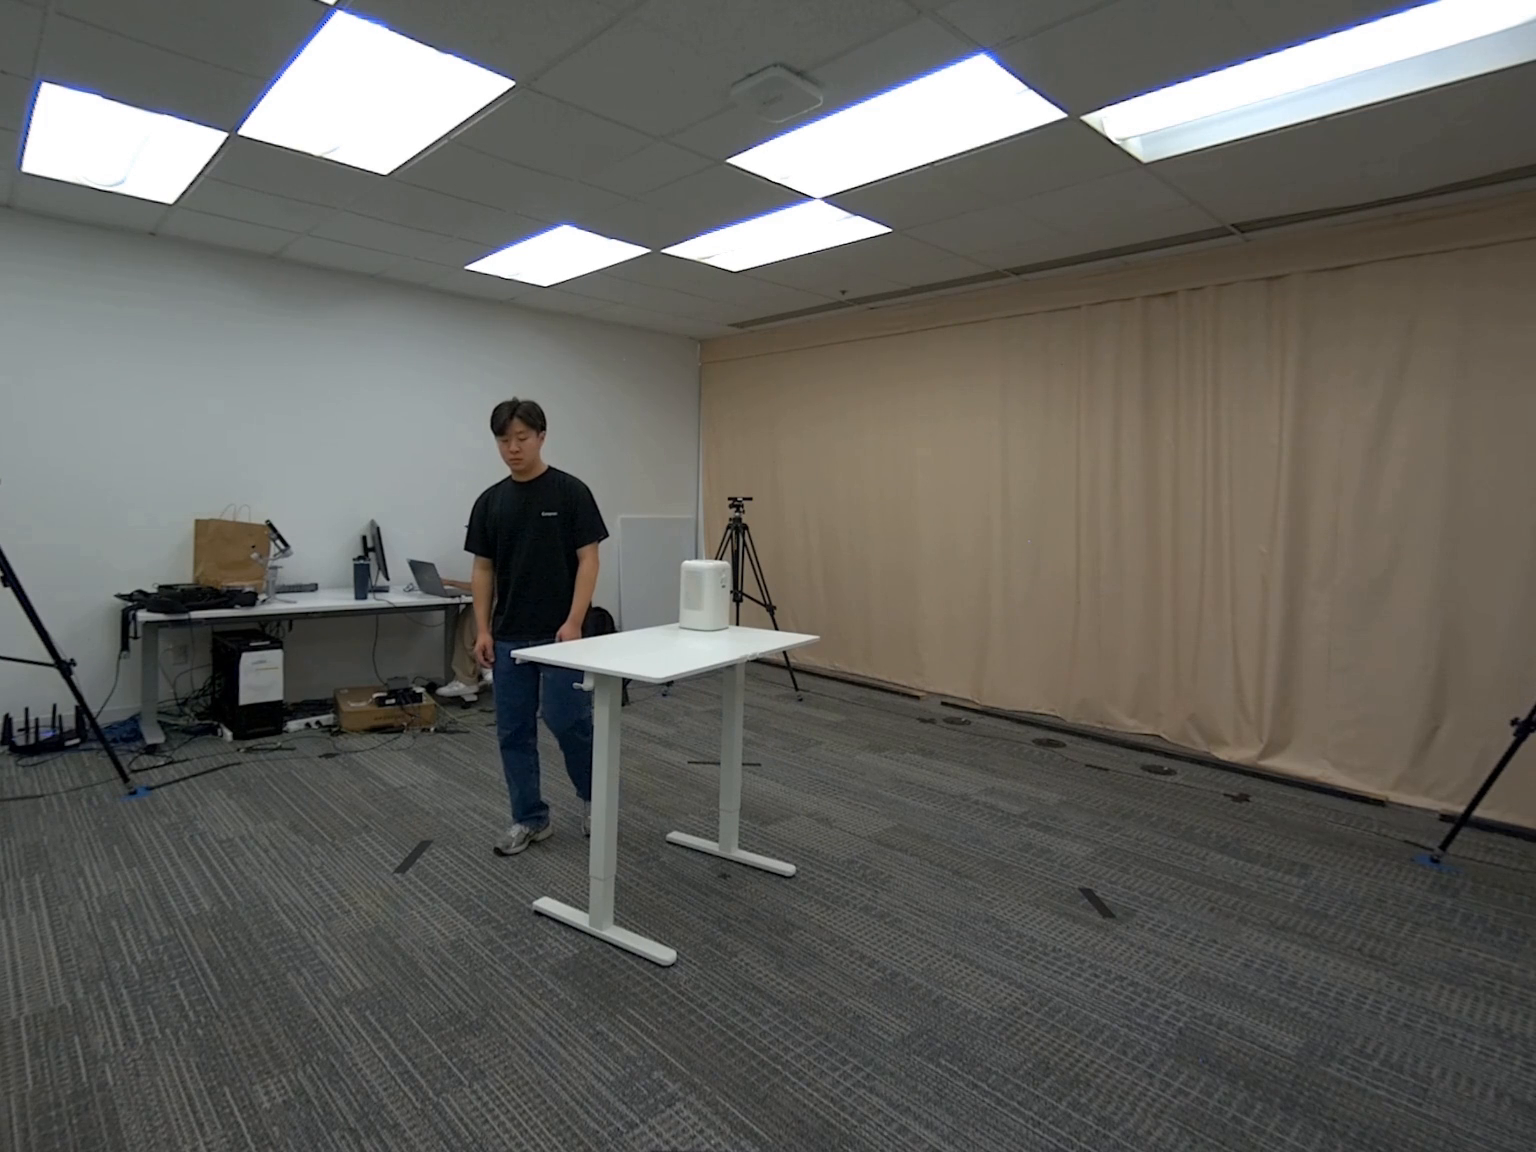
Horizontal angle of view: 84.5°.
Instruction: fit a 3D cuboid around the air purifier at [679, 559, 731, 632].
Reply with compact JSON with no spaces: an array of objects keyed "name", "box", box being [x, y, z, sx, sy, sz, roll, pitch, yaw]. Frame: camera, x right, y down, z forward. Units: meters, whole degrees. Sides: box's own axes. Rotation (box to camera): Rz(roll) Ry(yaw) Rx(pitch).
[{"name":"air purifier","box":[-0.258,0.072,3.310,0.175,0.264,0.168,4,5,32]}]
